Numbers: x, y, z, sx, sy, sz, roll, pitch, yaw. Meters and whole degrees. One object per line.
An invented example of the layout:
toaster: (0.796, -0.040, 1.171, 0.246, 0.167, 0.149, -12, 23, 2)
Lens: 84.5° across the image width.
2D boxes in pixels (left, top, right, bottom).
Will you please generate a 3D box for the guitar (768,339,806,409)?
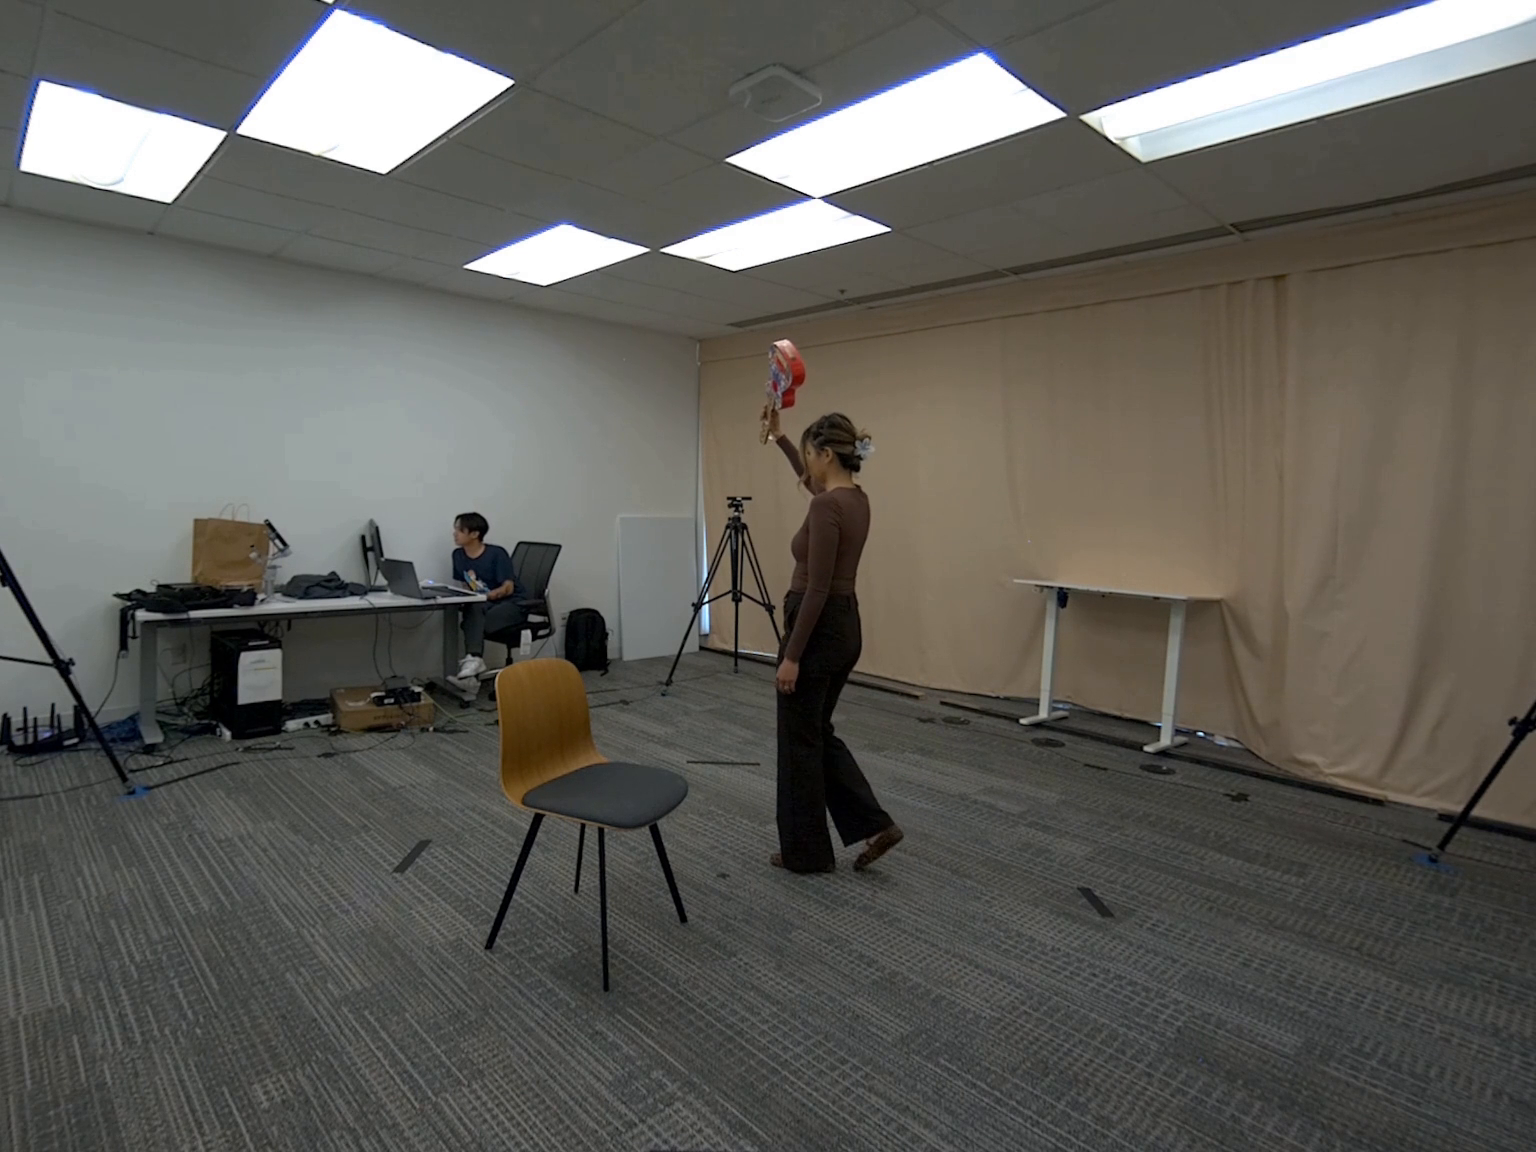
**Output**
guitar: (0.022, -0.728, 3.358, 0.070, 0.196, 0.494, -16, -20, -20)
